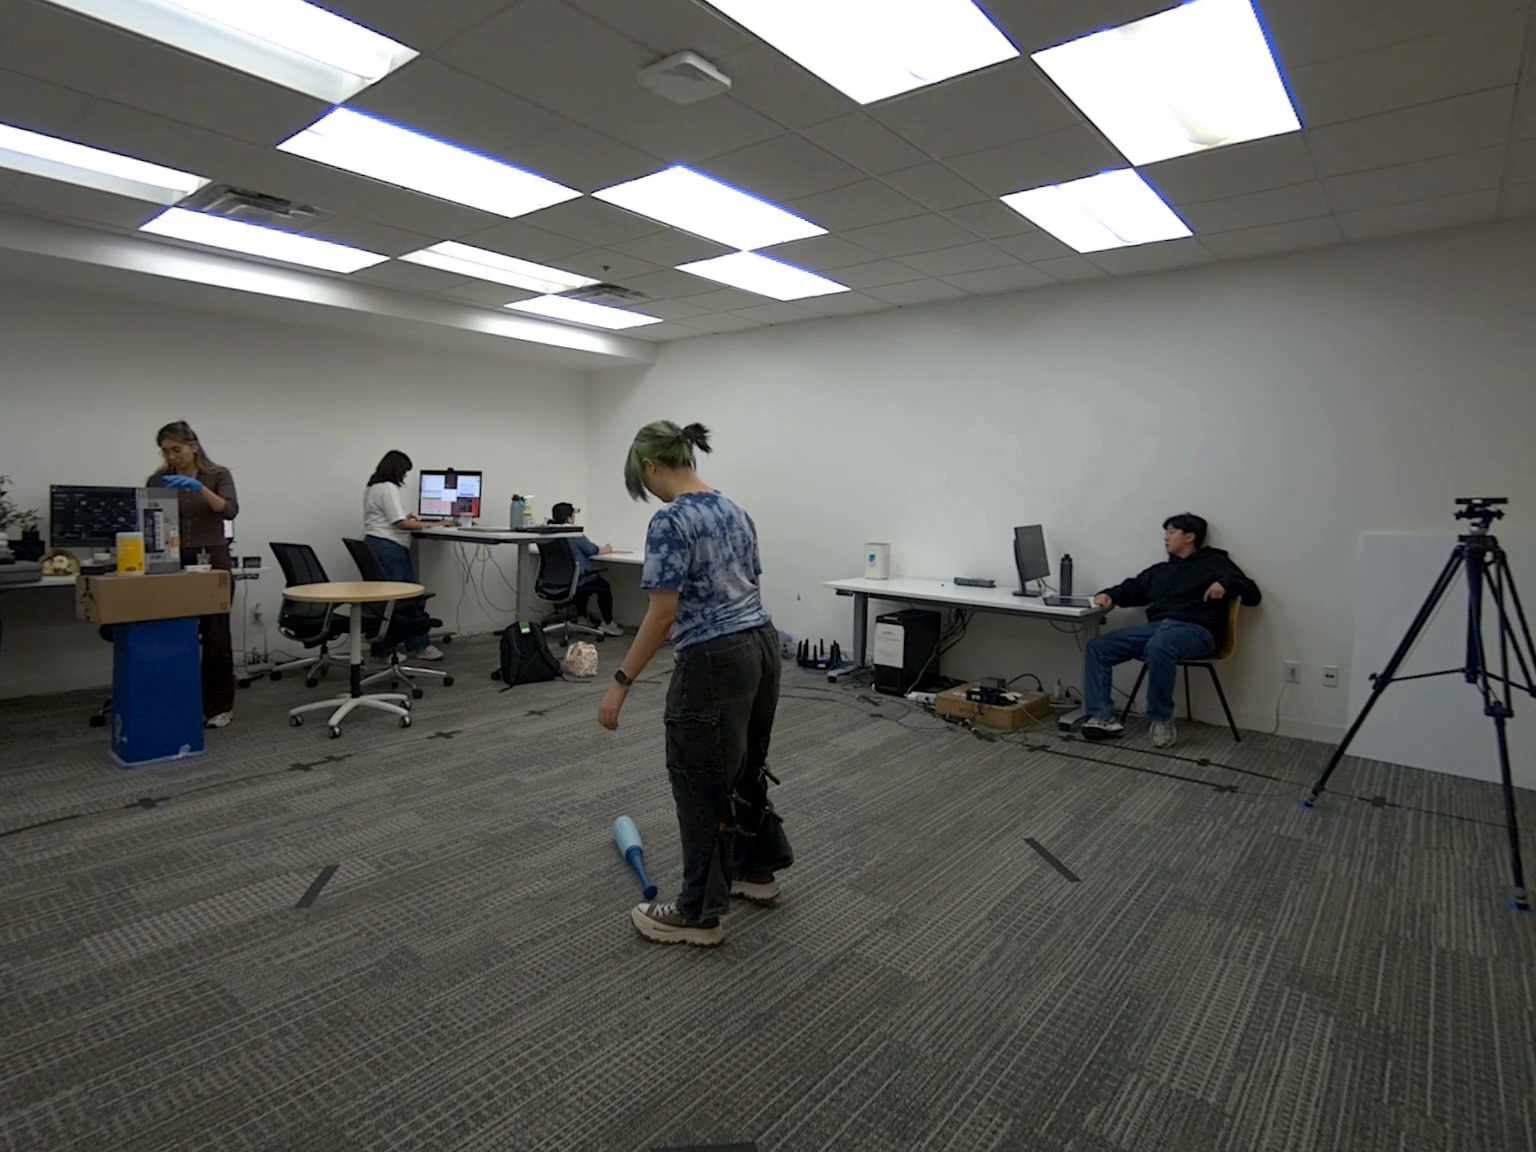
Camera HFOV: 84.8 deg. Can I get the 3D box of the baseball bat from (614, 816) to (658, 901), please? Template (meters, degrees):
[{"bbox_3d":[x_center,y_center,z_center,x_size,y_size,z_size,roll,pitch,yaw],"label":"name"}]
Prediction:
[{"bbox_3d":[-0.499,1.030,3.116,0.087,0.088,0.556,-1,9,-18],"label":"baseball bat"}]
